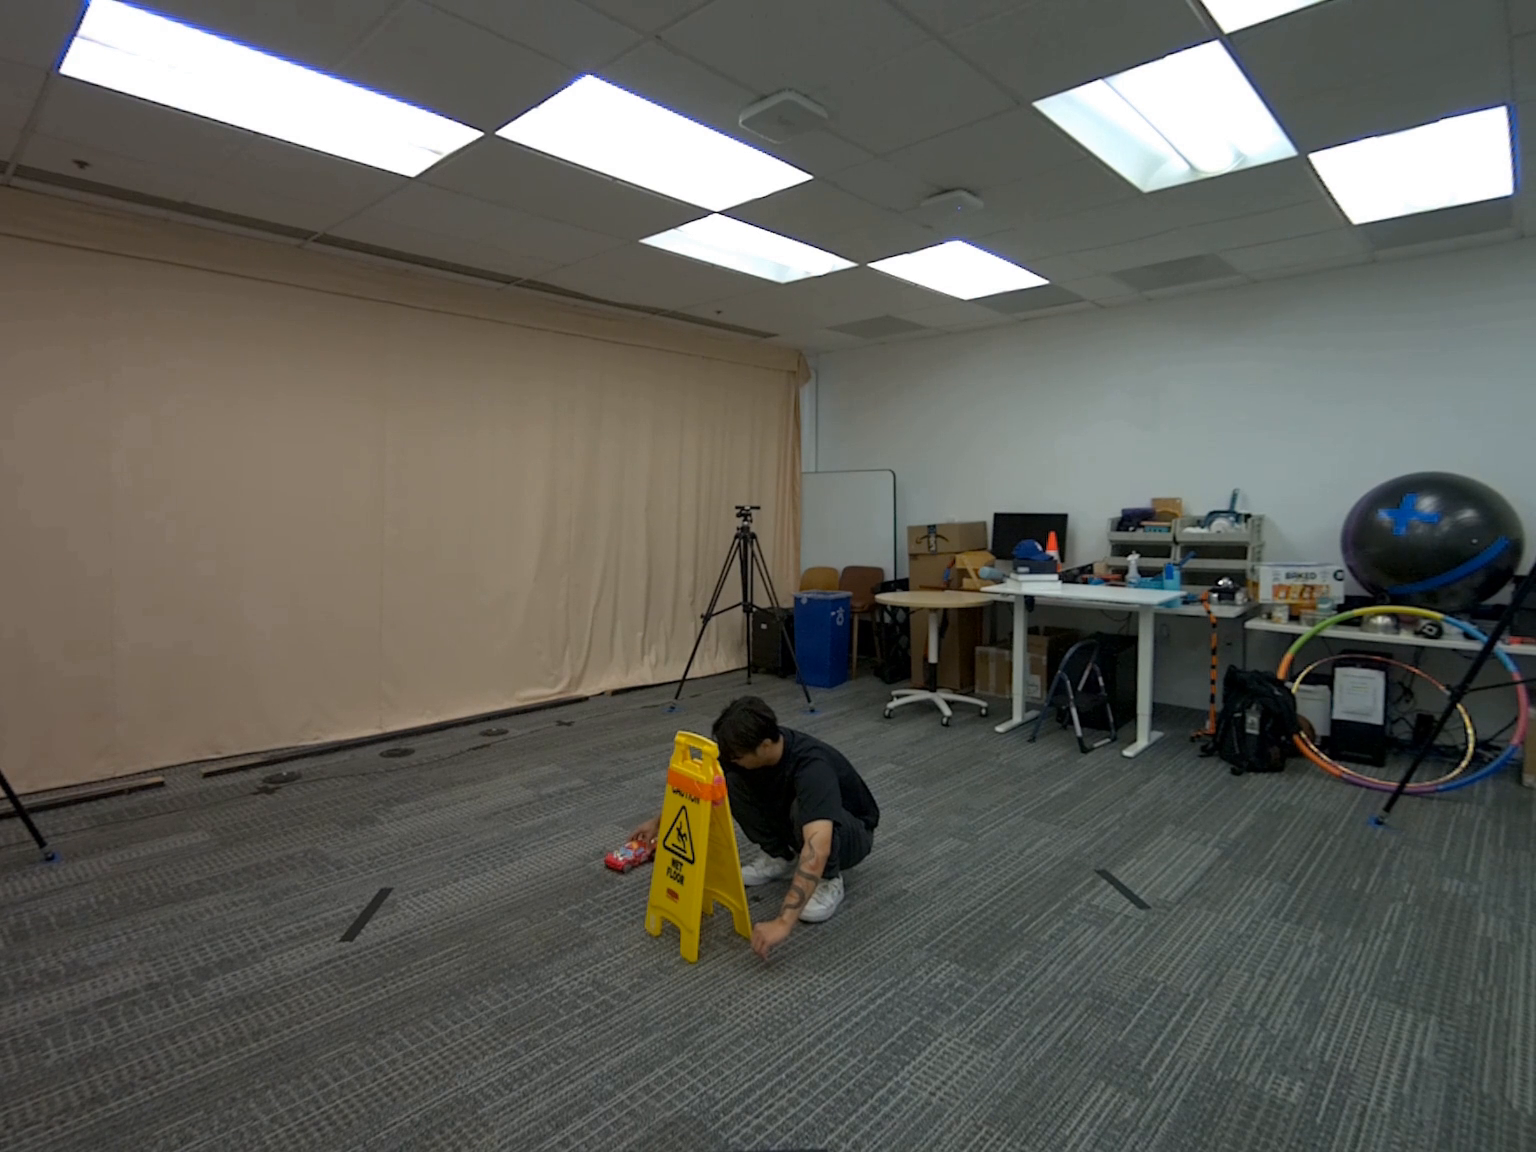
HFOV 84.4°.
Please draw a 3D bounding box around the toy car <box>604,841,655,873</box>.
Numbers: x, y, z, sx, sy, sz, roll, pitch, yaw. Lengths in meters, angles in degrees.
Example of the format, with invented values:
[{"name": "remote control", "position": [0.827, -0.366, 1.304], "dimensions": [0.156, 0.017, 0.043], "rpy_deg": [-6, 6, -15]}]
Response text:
[{"name": "toy car", "position": [-0.518, 1.092, 3.295], "dimensions": [0.134, 0.082, 0.248], "rpy_deg": [2, 16, 40]}]
